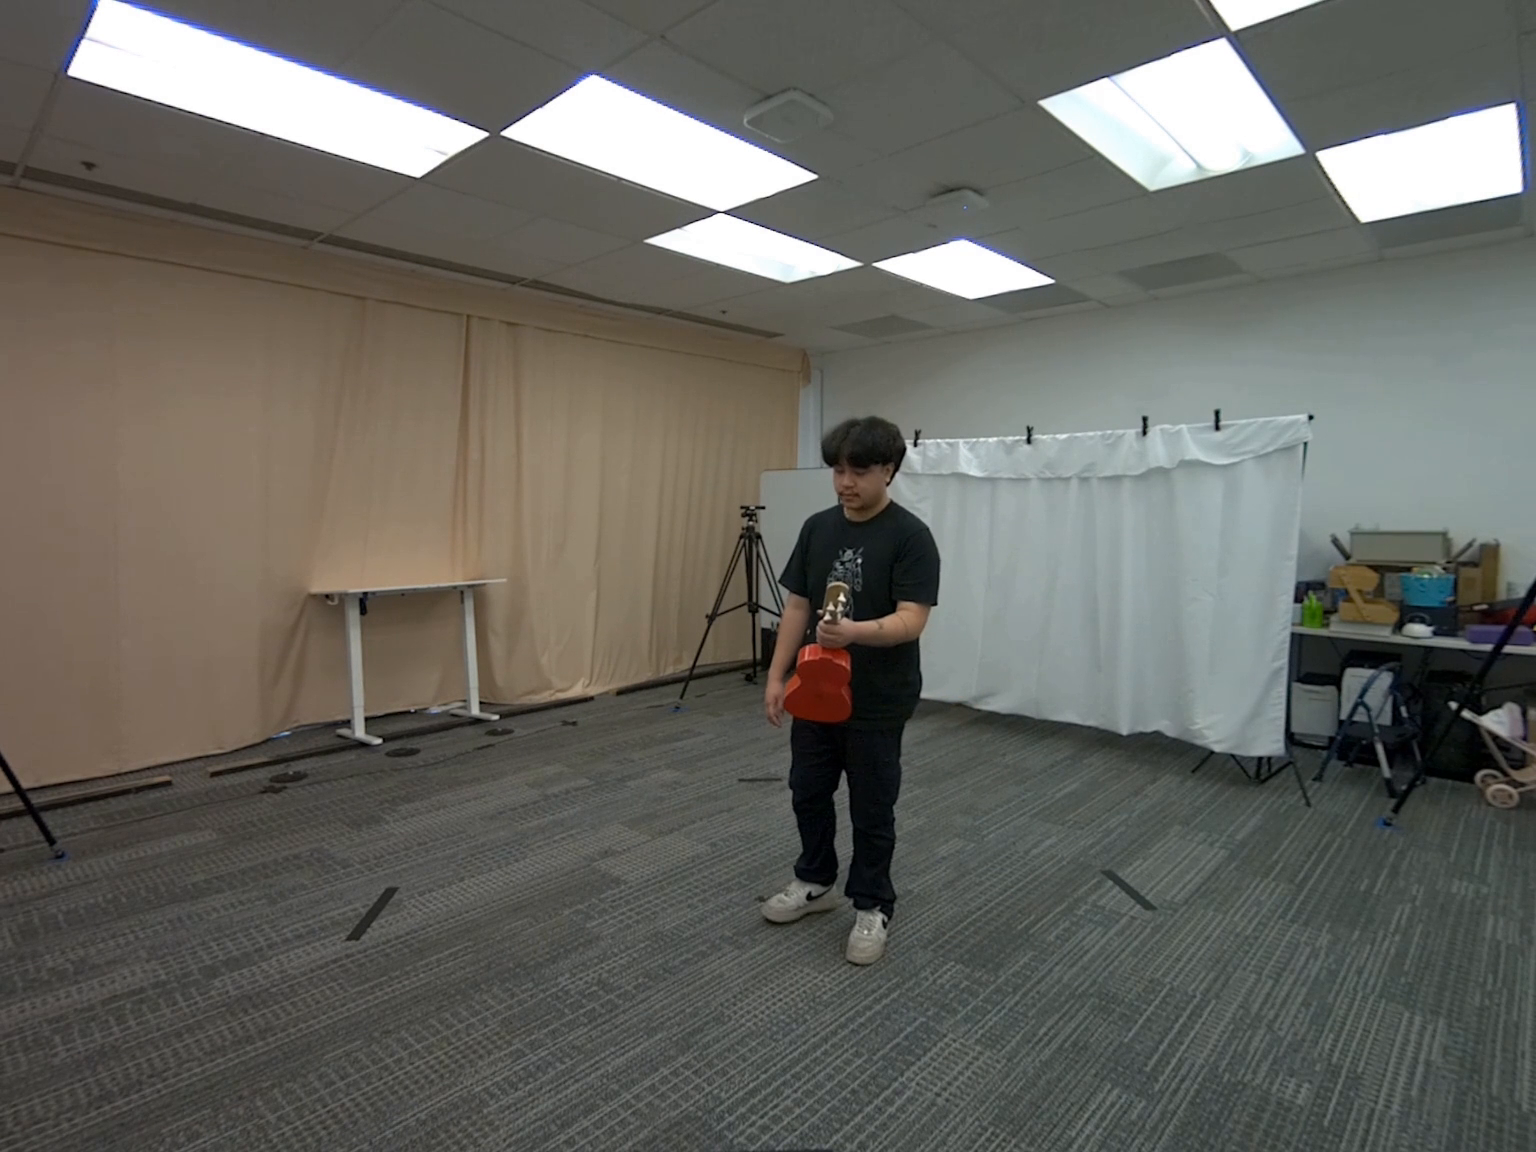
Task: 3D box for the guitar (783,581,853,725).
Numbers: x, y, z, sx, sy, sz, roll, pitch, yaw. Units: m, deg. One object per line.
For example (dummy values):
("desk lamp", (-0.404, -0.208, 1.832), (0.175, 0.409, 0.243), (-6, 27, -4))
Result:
("guitar", (0.129, 0.220, 2.318), (0.195, 0.486, 0.071), (0, 41, 11))
